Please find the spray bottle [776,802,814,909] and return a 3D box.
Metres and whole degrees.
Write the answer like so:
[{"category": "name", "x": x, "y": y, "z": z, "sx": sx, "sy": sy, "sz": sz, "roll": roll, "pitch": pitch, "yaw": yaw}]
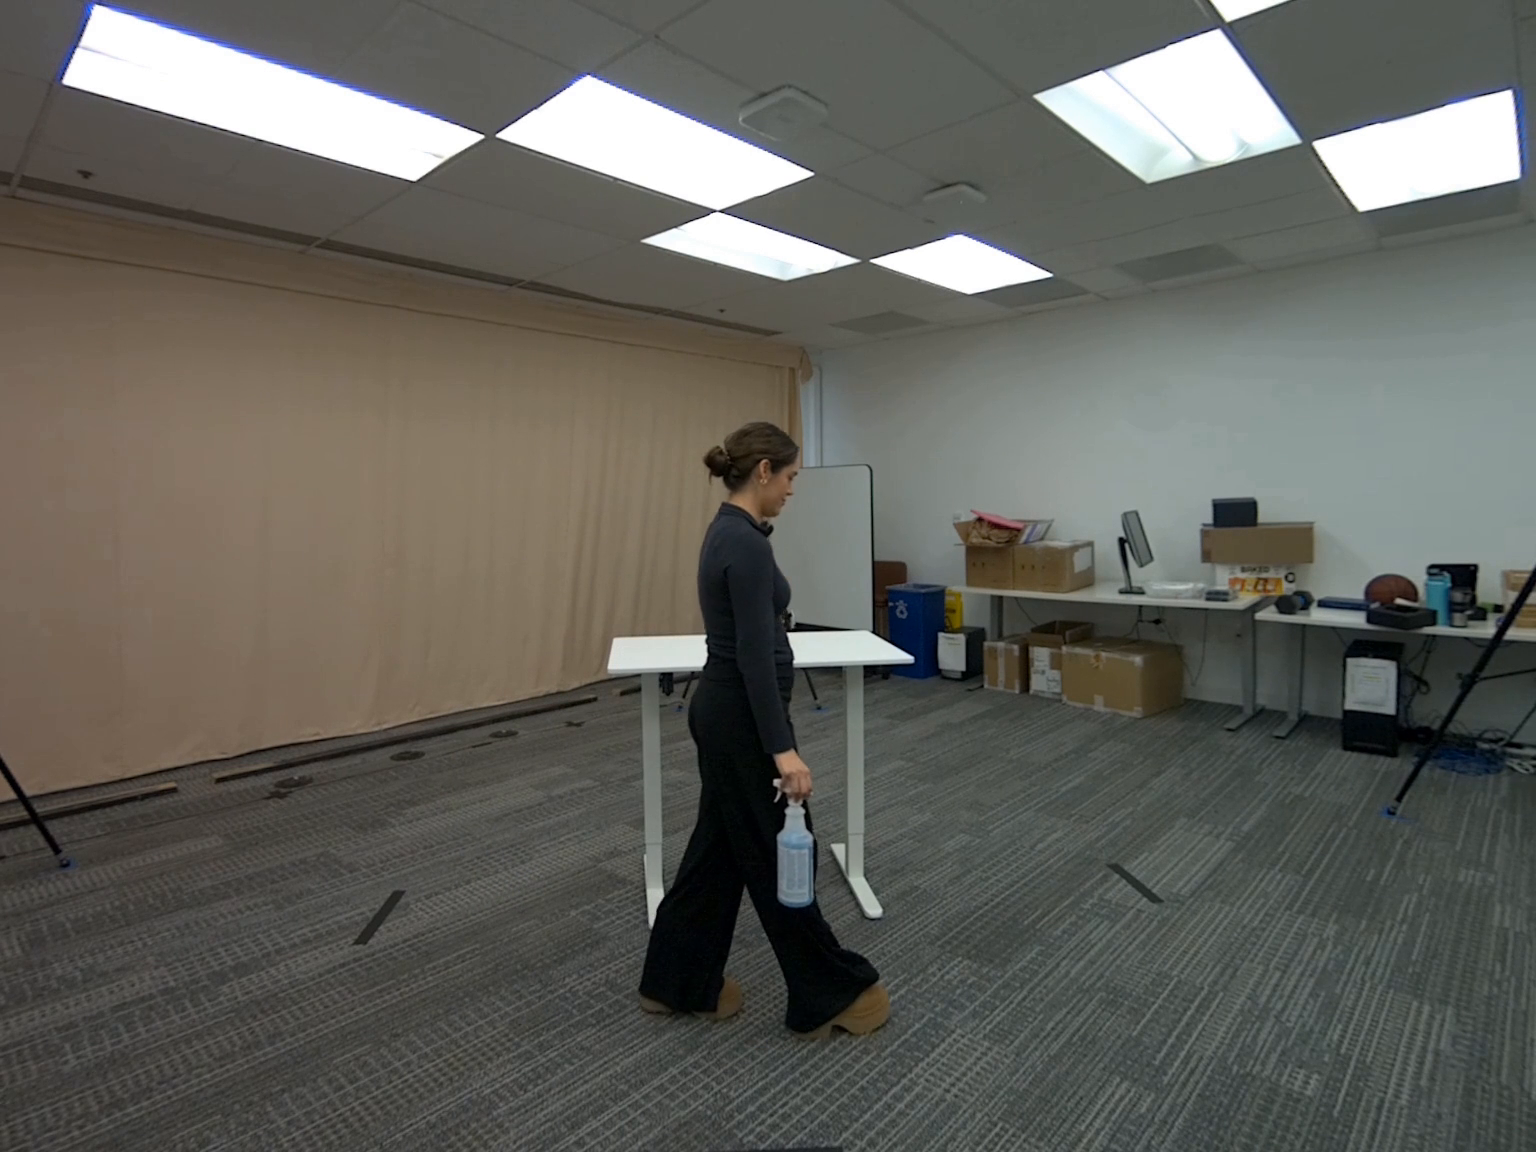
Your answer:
[{"category": "spray bottle", "x": 0.062, "y": 0.638, "z": 2.037, "sx": 0.093, "sy": 0.297, "sz": 0.085, "roll": 0, "pitch": 4, "yaw": 32}]
